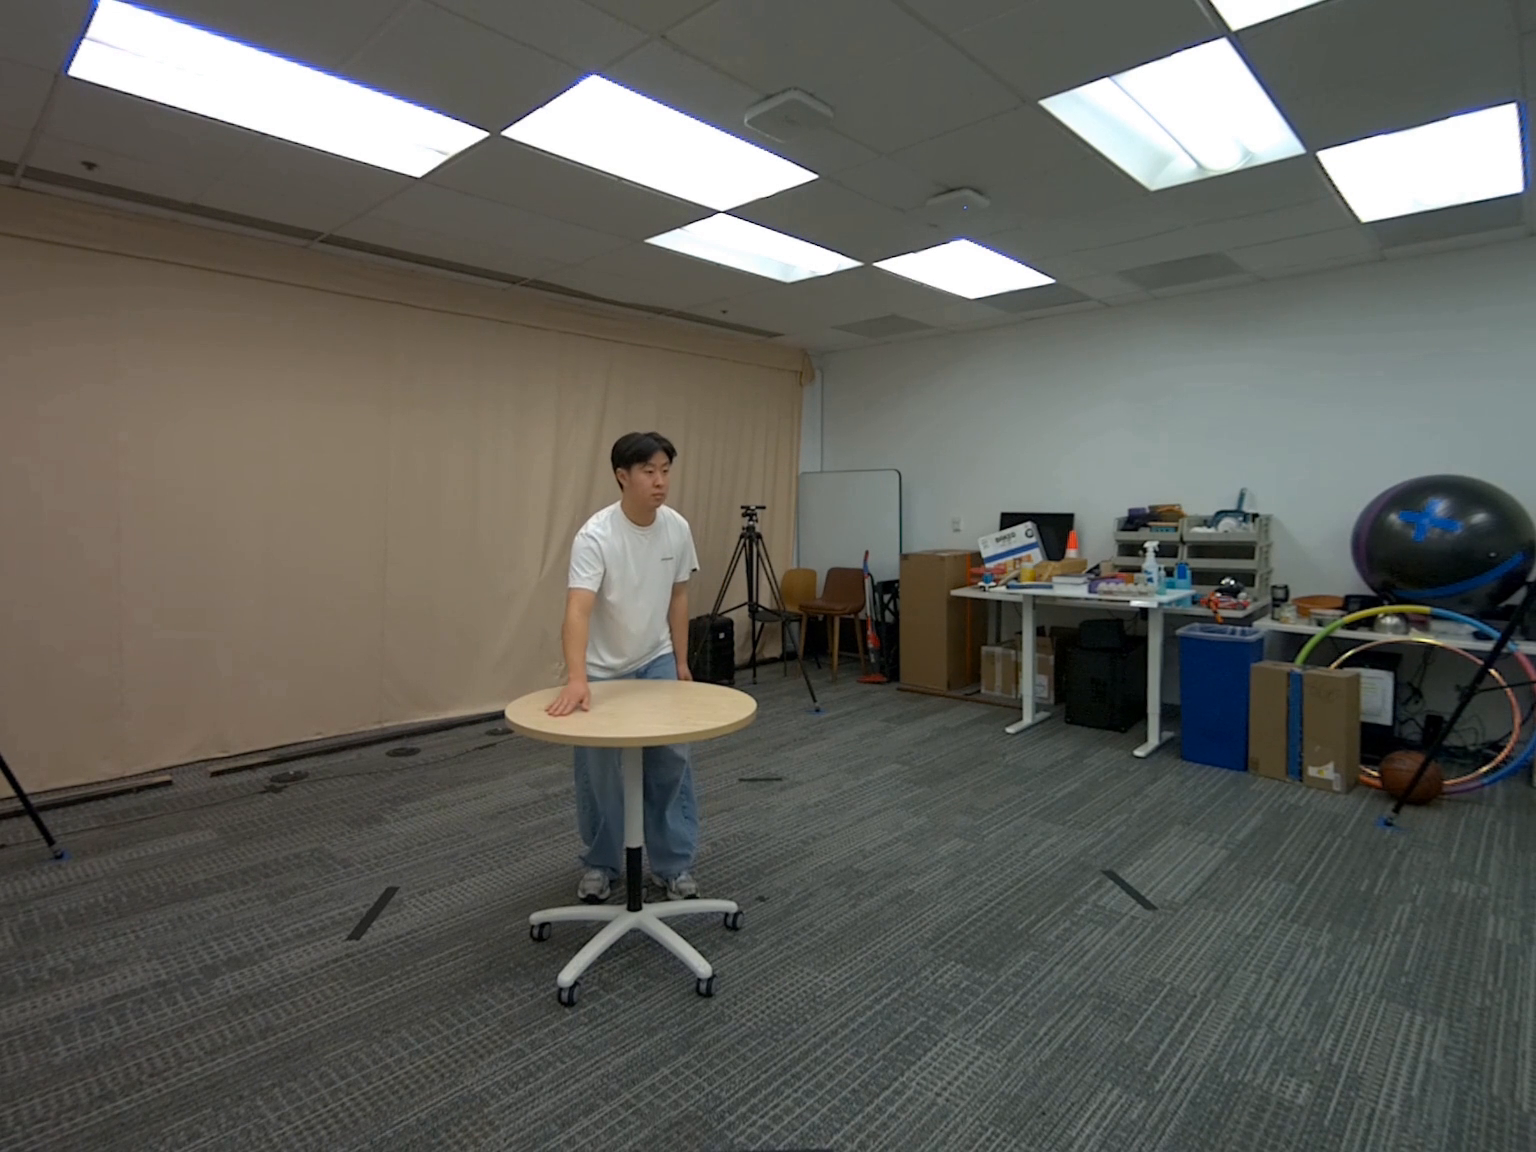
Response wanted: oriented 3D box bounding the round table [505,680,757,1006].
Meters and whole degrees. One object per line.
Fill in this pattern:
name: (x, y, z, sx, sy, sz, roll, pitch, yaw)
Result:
round table: (-0.402, 0.788, 2.610, 0.763, 0.792, 0.766, 0, 4, -2)
